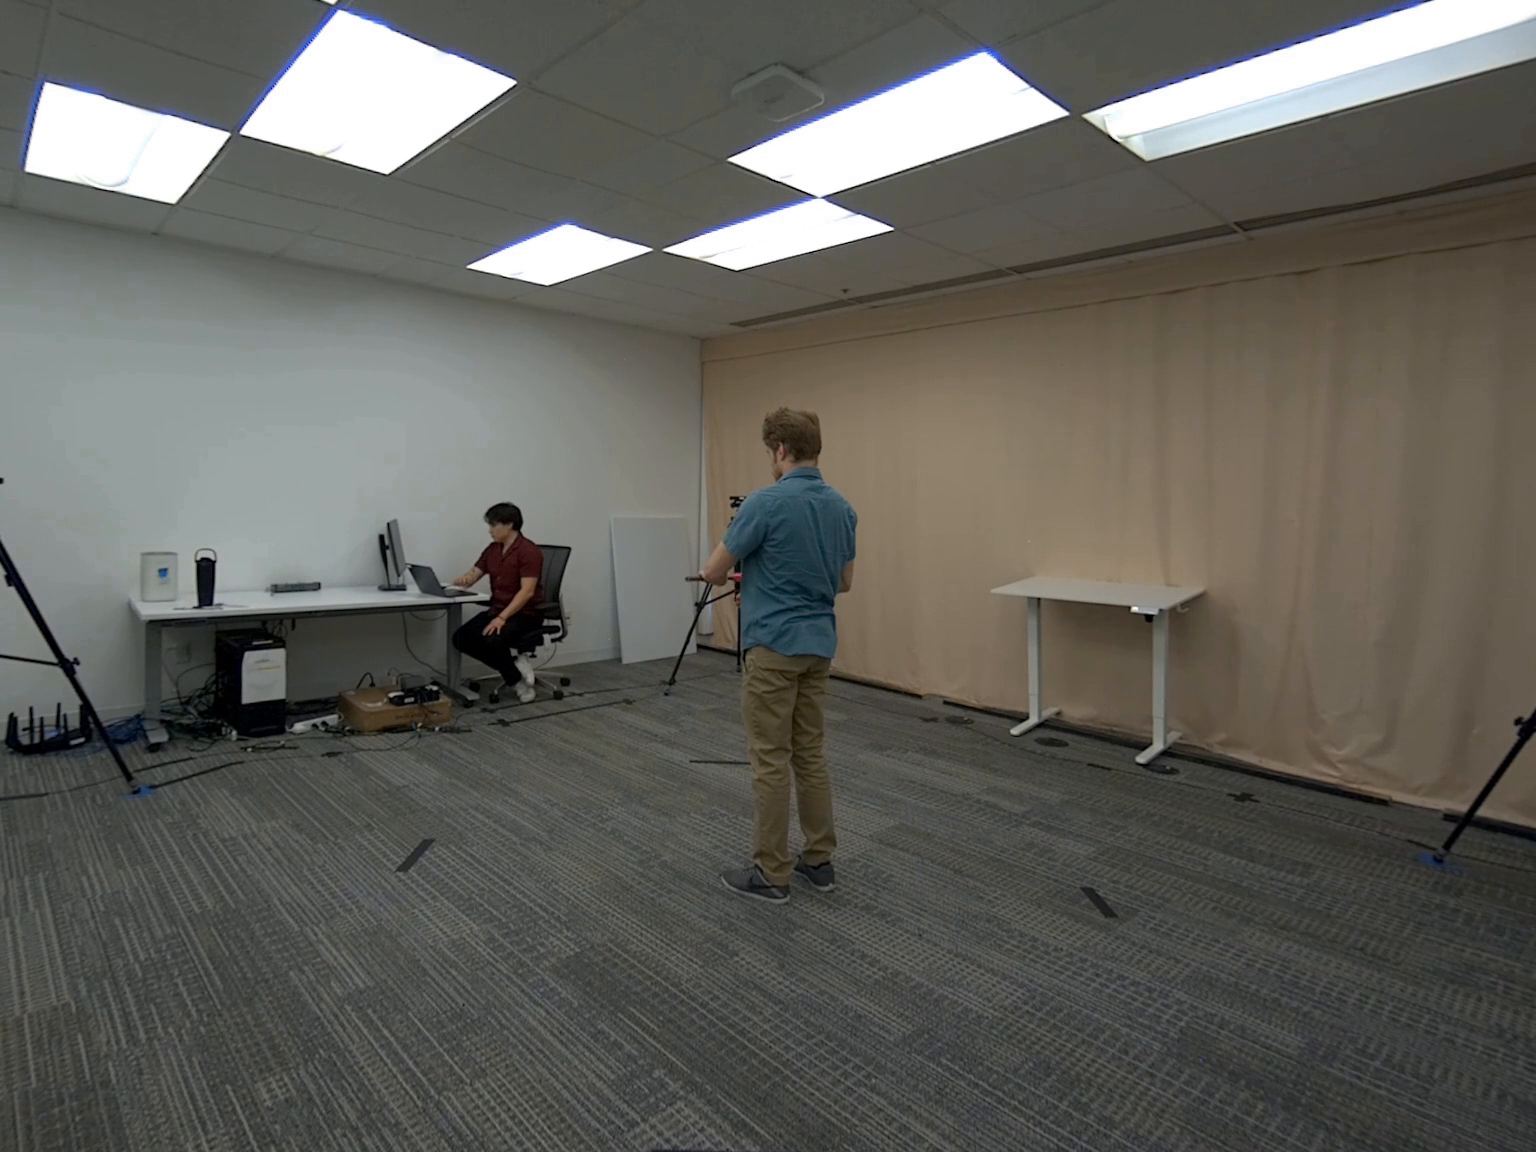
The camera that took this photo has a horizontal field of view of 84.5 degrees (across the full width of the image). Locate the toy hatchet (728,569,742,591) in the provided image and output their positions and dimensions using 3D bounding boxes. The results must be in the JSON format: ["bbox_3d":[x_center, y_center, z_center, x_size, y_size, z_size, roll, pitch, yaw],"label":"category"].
[{"bbox_3d":[-0.205,0.001,3.258,0.264,0.030,0.134,-3,-3,-44],"label":"toy hatchet"}]
